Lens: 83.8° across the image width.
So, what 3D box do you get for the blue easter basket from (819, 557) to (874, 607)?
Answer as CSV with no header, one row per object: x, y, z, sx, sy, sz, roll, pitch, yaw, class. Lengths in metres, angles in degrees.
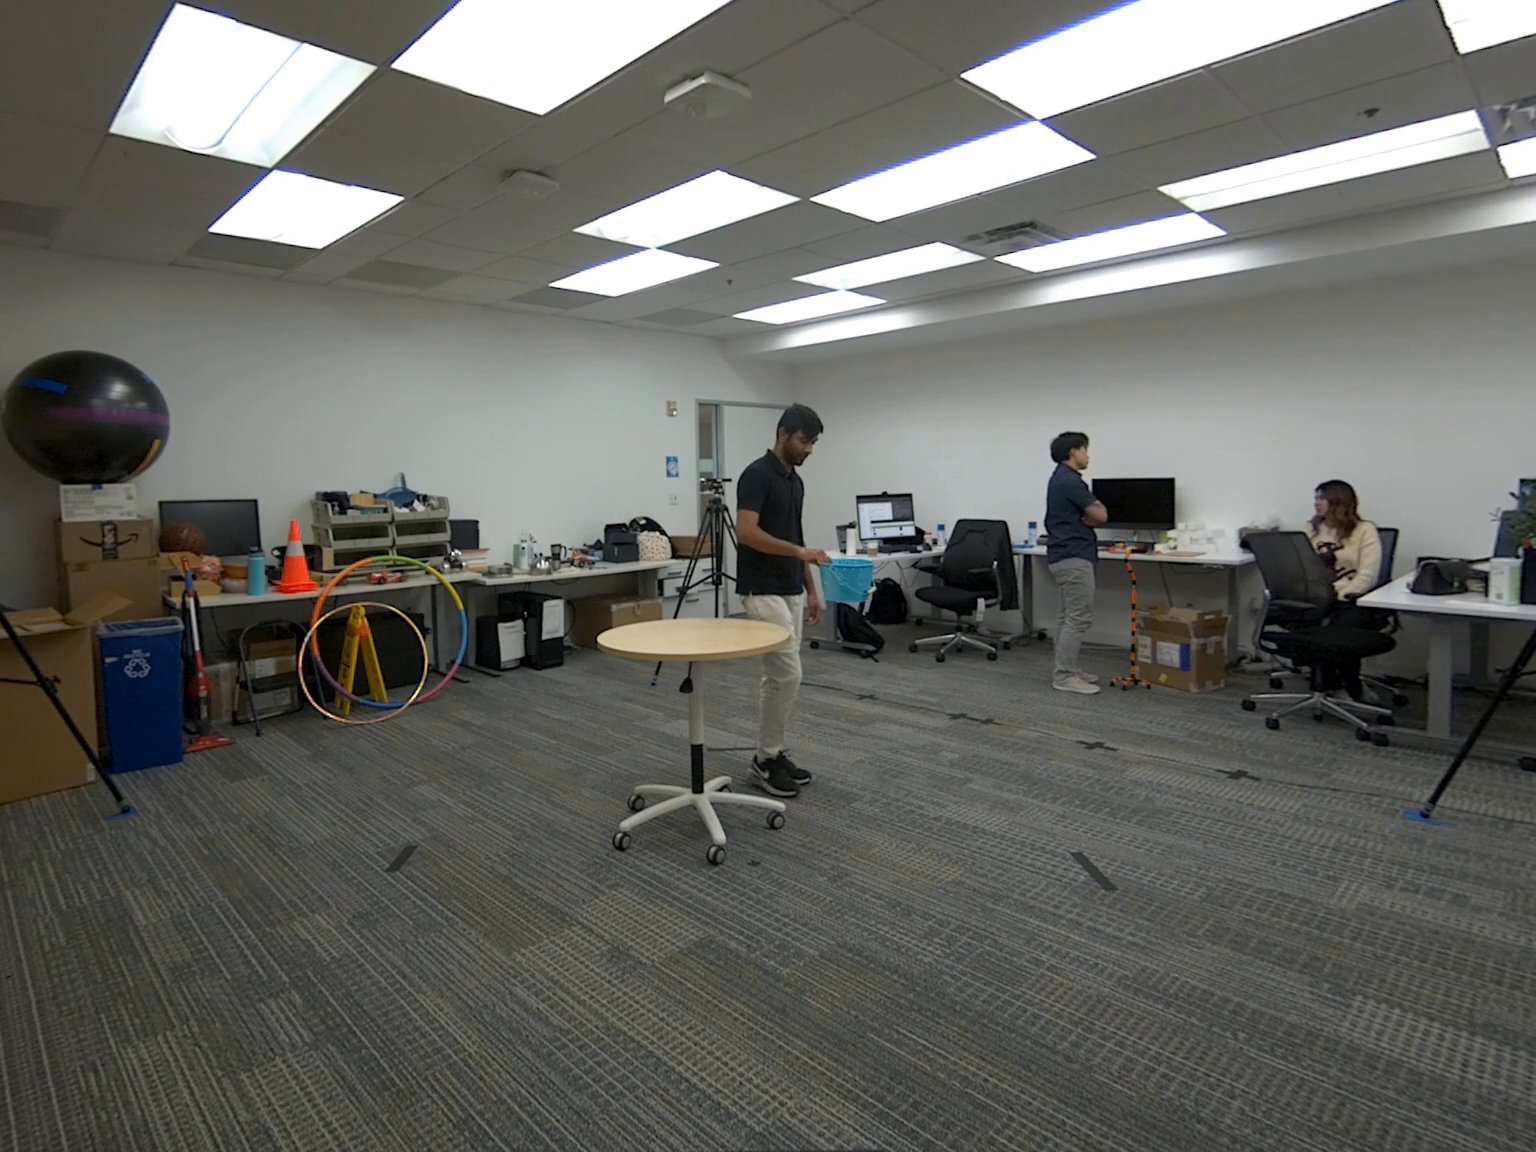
0.320,0.024,3.478,0.243,0.155,0.245,1,5,-2,blue easter basket
